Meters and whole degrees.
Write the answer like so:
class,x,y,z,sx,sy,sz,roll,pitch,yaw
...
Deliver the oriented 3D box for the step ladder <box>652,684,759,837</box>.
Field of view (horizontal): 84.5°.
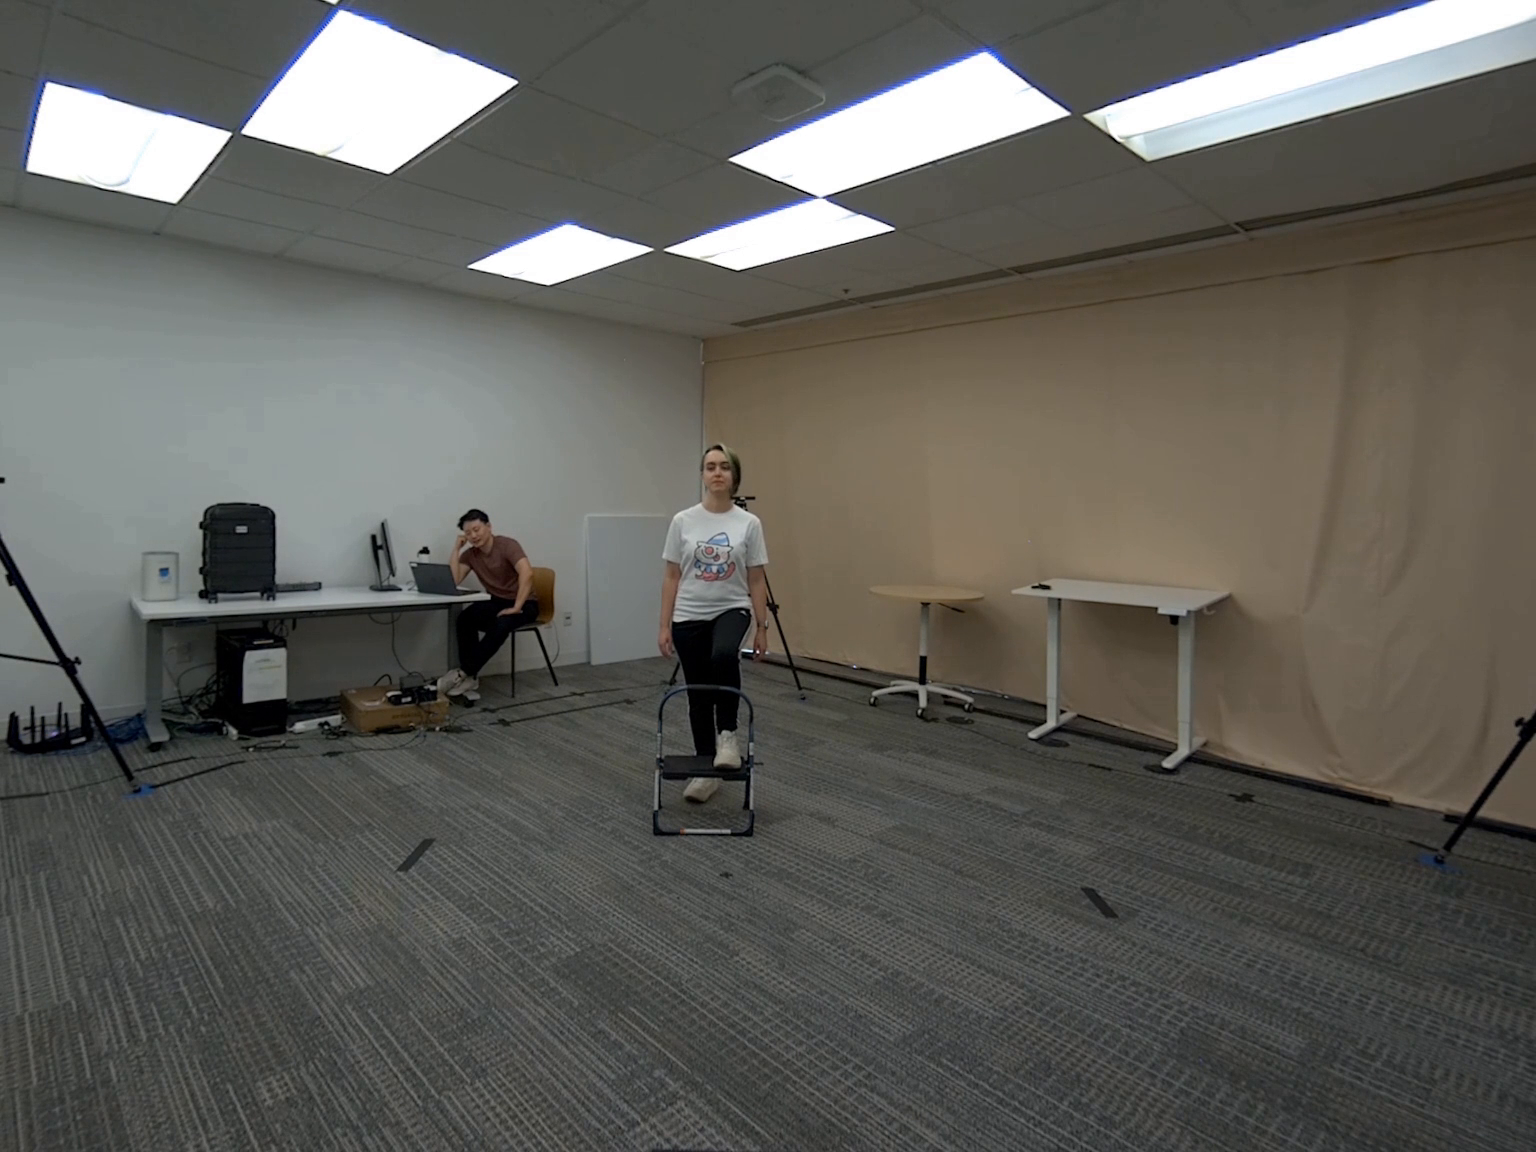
class,x,y,z,sx,sy,sz,roll,pitch,yaw
step ladder,-0.283,0.761,3.614,0.429,0.605,0.351,1,3,-5
